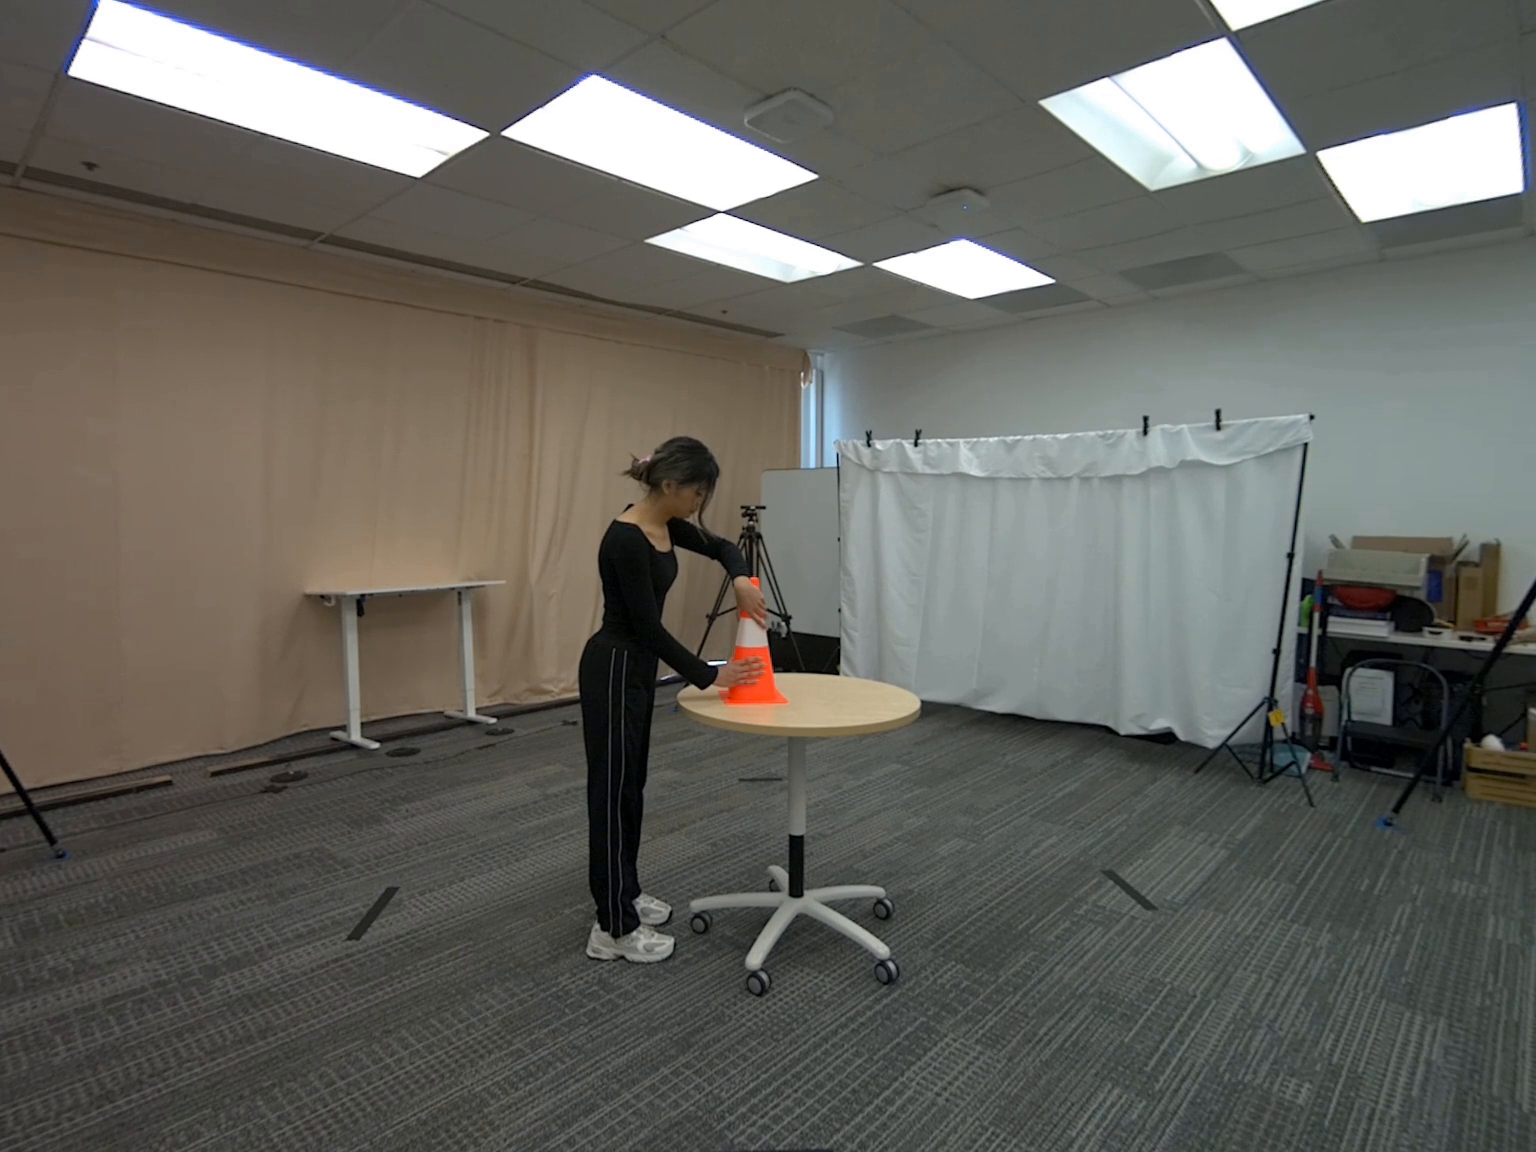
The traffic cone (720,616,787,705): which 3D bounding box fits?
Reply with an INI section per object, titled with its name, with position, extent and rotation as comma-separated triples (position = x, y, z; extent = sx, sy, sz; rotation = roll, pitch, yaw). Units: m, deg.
[traffic cone]
position = -0.049, 0.197, 2.659
extent = 0.201, 0.383, 0.208
rotation = -2, 2, -13
